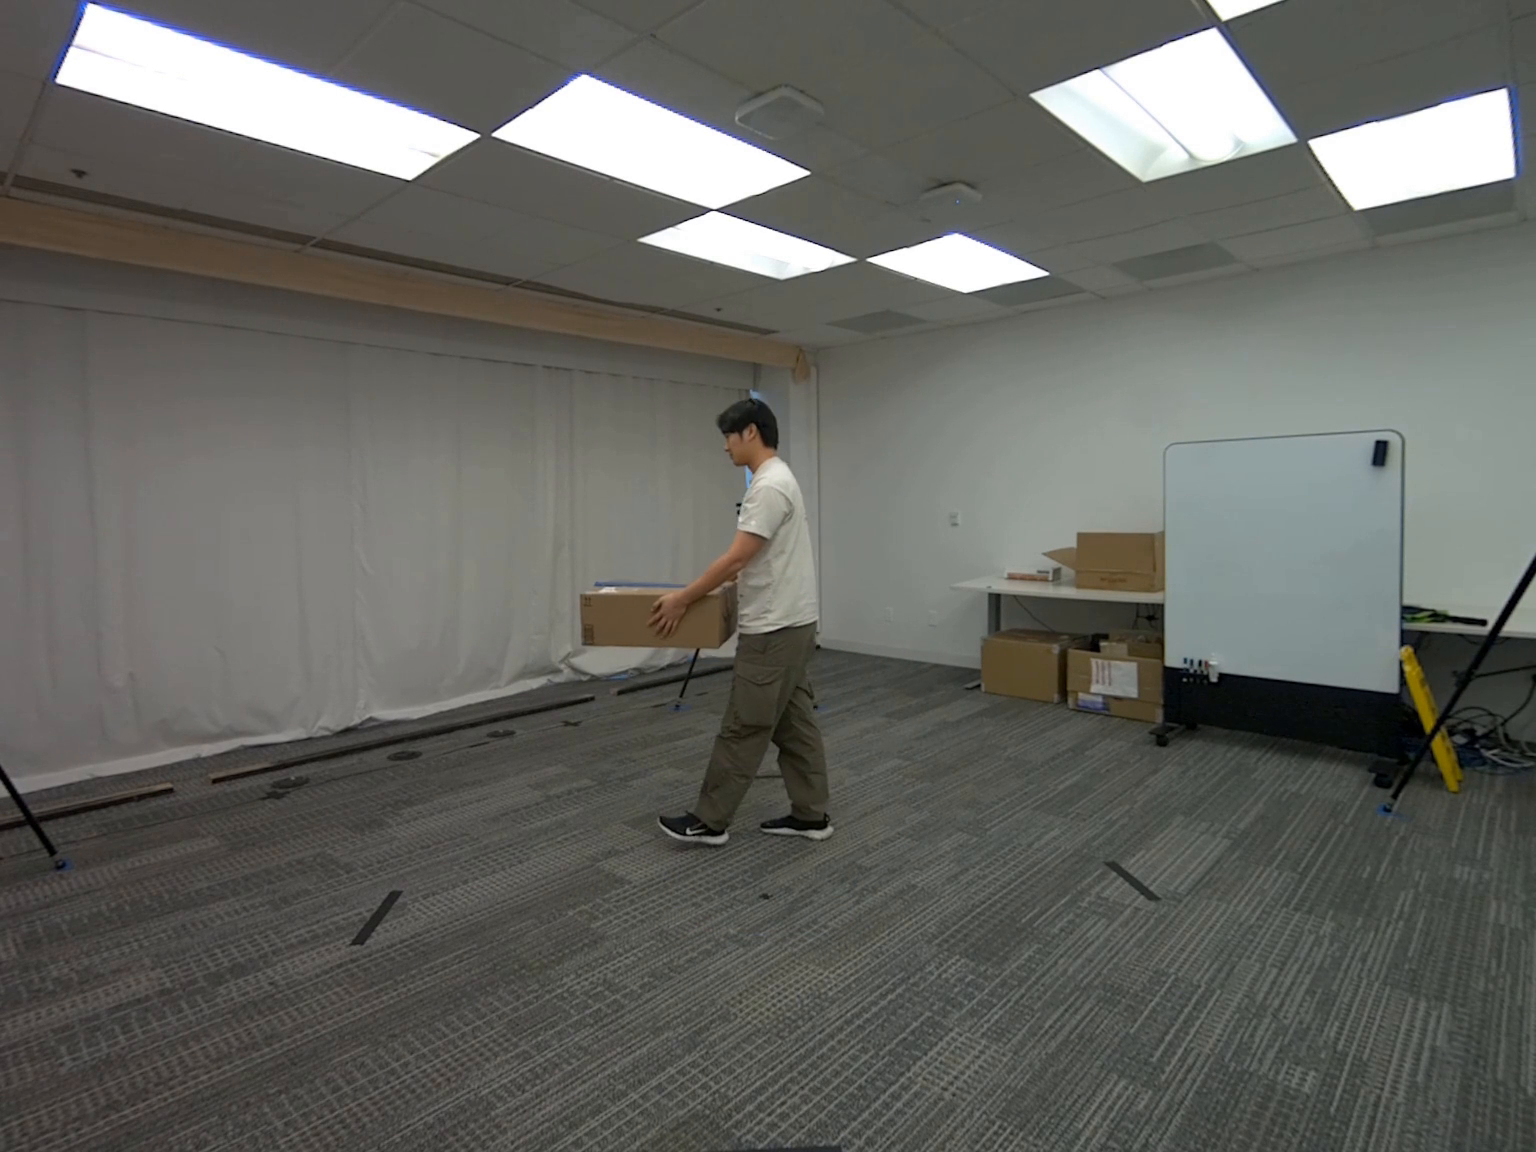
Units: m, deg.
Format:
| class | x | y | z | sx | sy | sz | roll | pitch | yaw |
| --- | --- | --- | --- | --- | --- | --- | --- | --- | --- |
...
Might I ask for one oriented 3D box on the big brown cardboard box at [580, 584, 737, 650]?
| class | x | y | z | sx | sy | sz | roll | pitch | yaw |
| --- | --- | --- | --- | --- | --- | --- | --- | --- | --- |
| big brown cardboard box | -0.443 | 0.150 | 3.523 | 0.596 | 0.232 | 0.414 | 2 | 6 | 10 |
